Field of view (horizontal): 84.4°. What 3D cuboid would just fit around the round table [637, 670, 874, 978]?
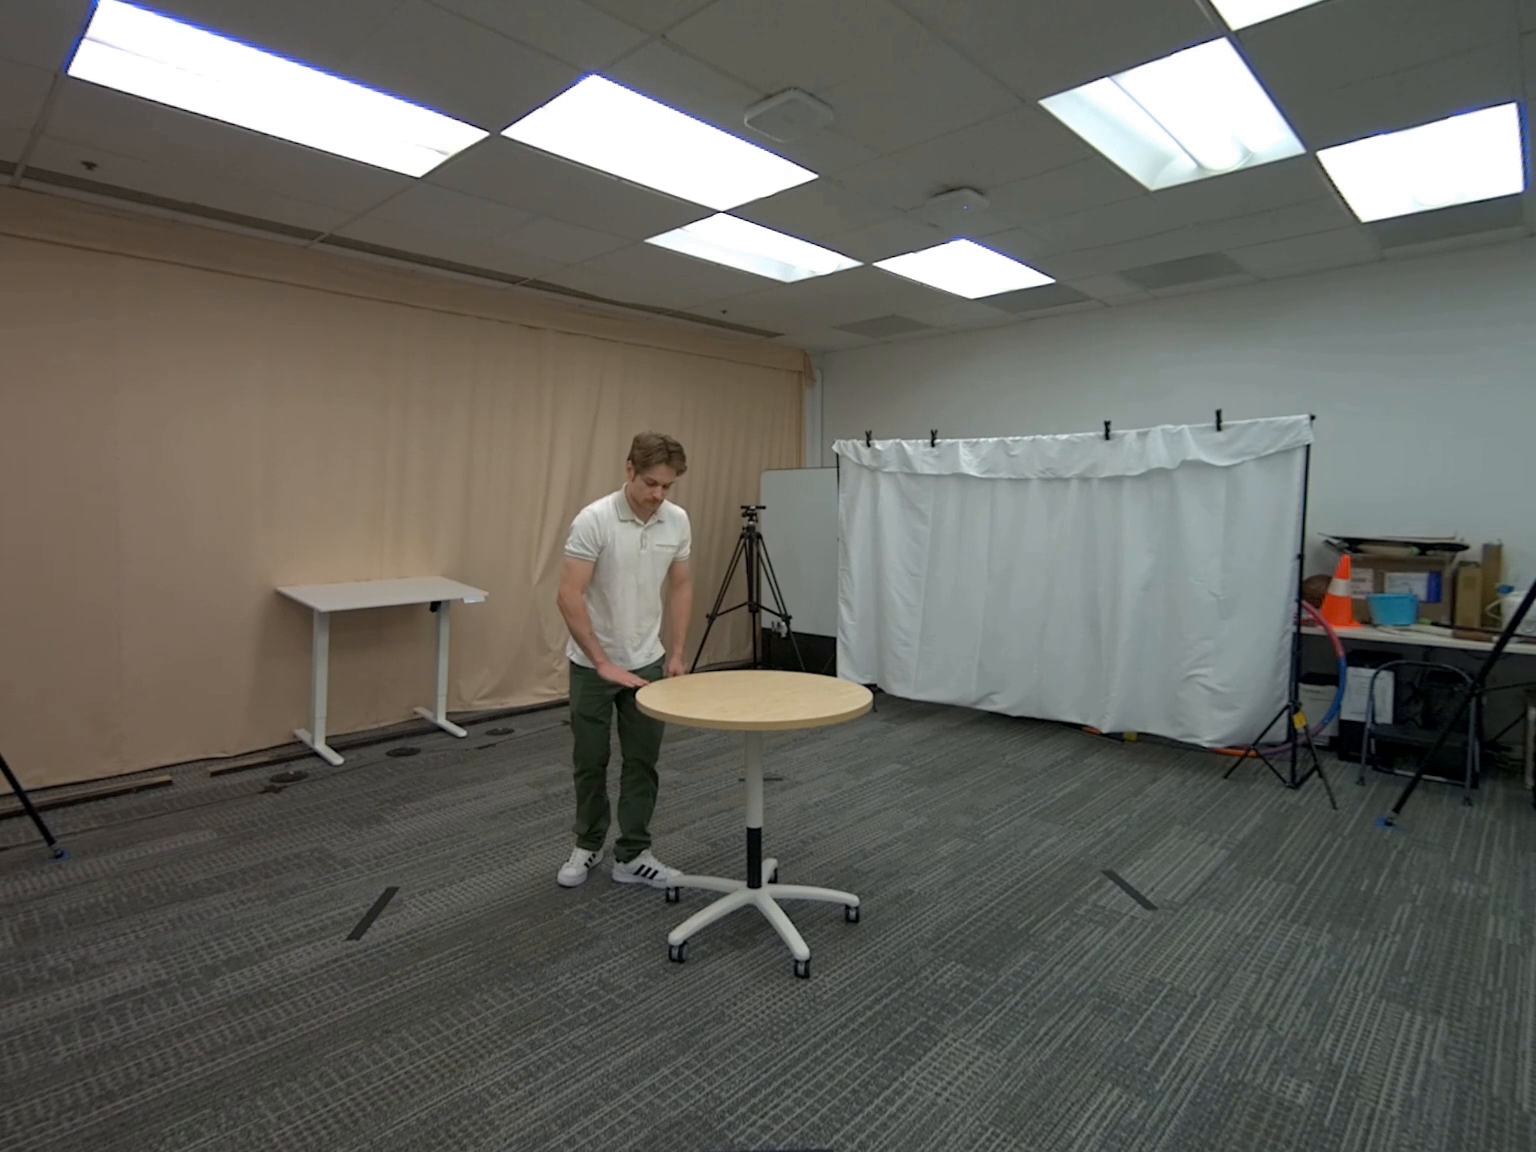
[{"bbox_3d":[-0.039,0.769,2.748,0.784,0.785,0.787,-1,3,-2],"label":"round table"}]
